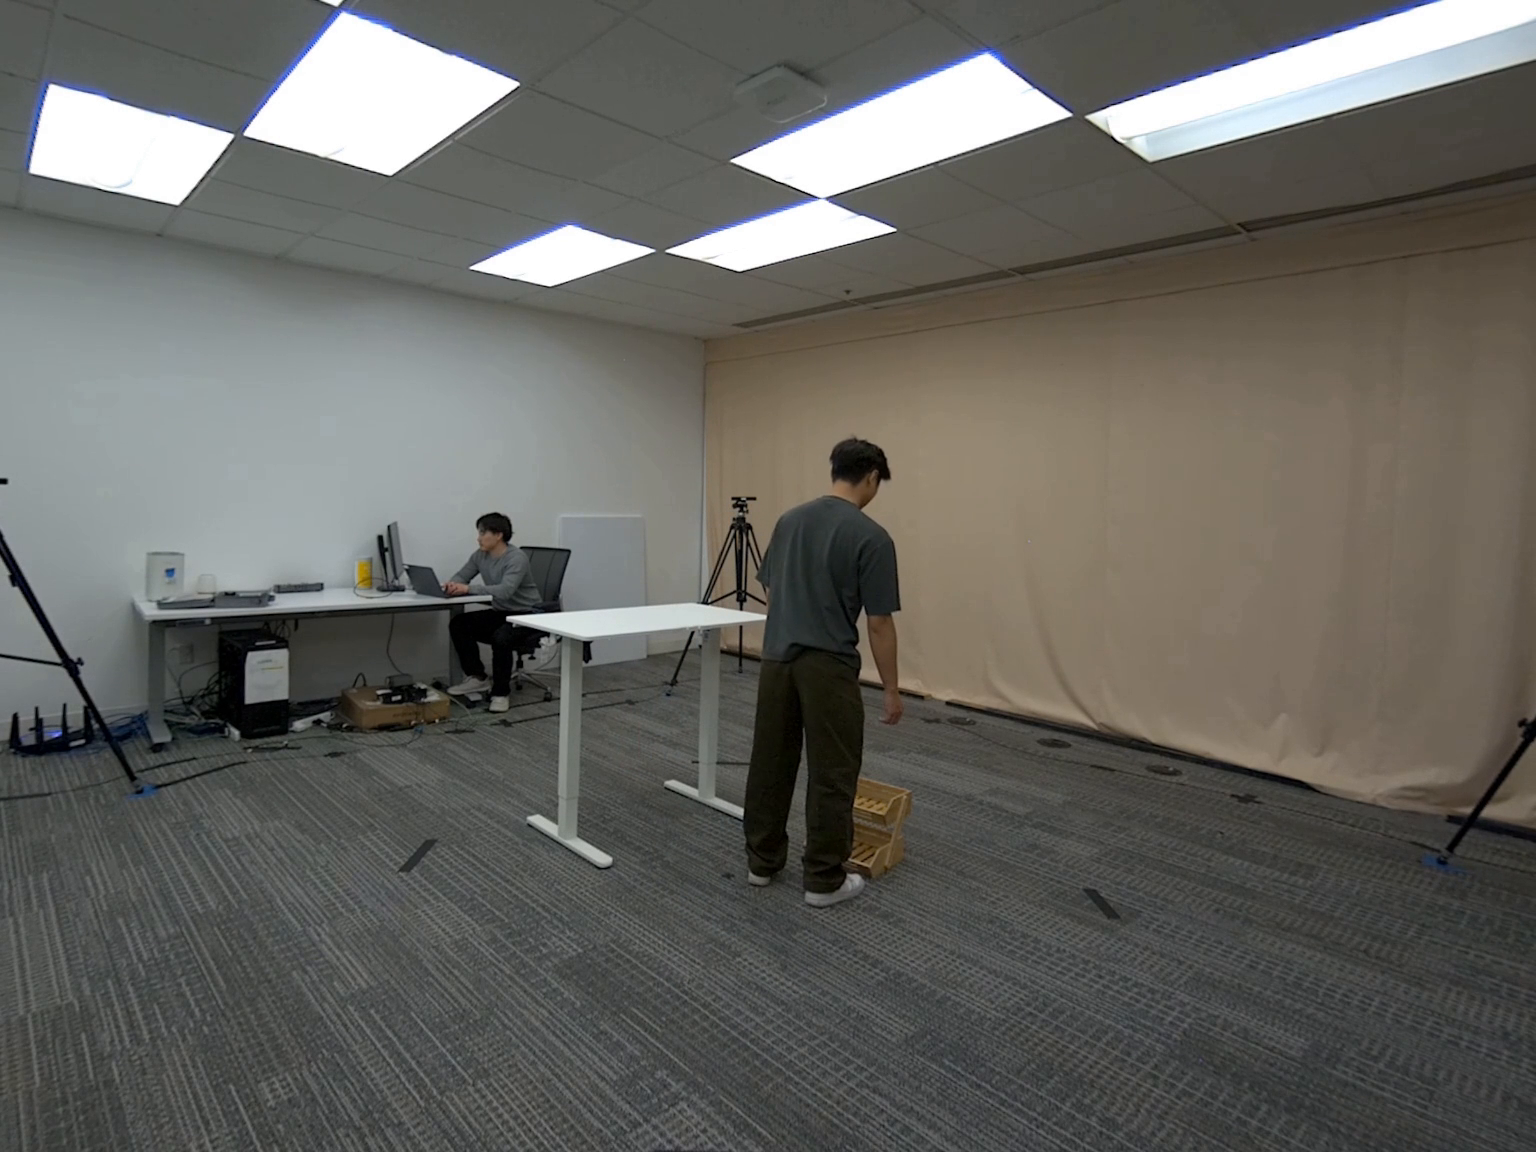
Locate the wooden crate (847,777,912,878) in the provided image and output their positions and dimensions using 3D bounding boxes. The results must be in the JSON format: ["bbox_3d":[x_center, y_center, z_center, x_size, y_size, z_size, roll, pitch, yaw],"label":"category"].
[{"bbox_3d":[0.343,0.964,3.298,0.332,0.273,0.295,5,4,38],"label":"wooden crate"}]
